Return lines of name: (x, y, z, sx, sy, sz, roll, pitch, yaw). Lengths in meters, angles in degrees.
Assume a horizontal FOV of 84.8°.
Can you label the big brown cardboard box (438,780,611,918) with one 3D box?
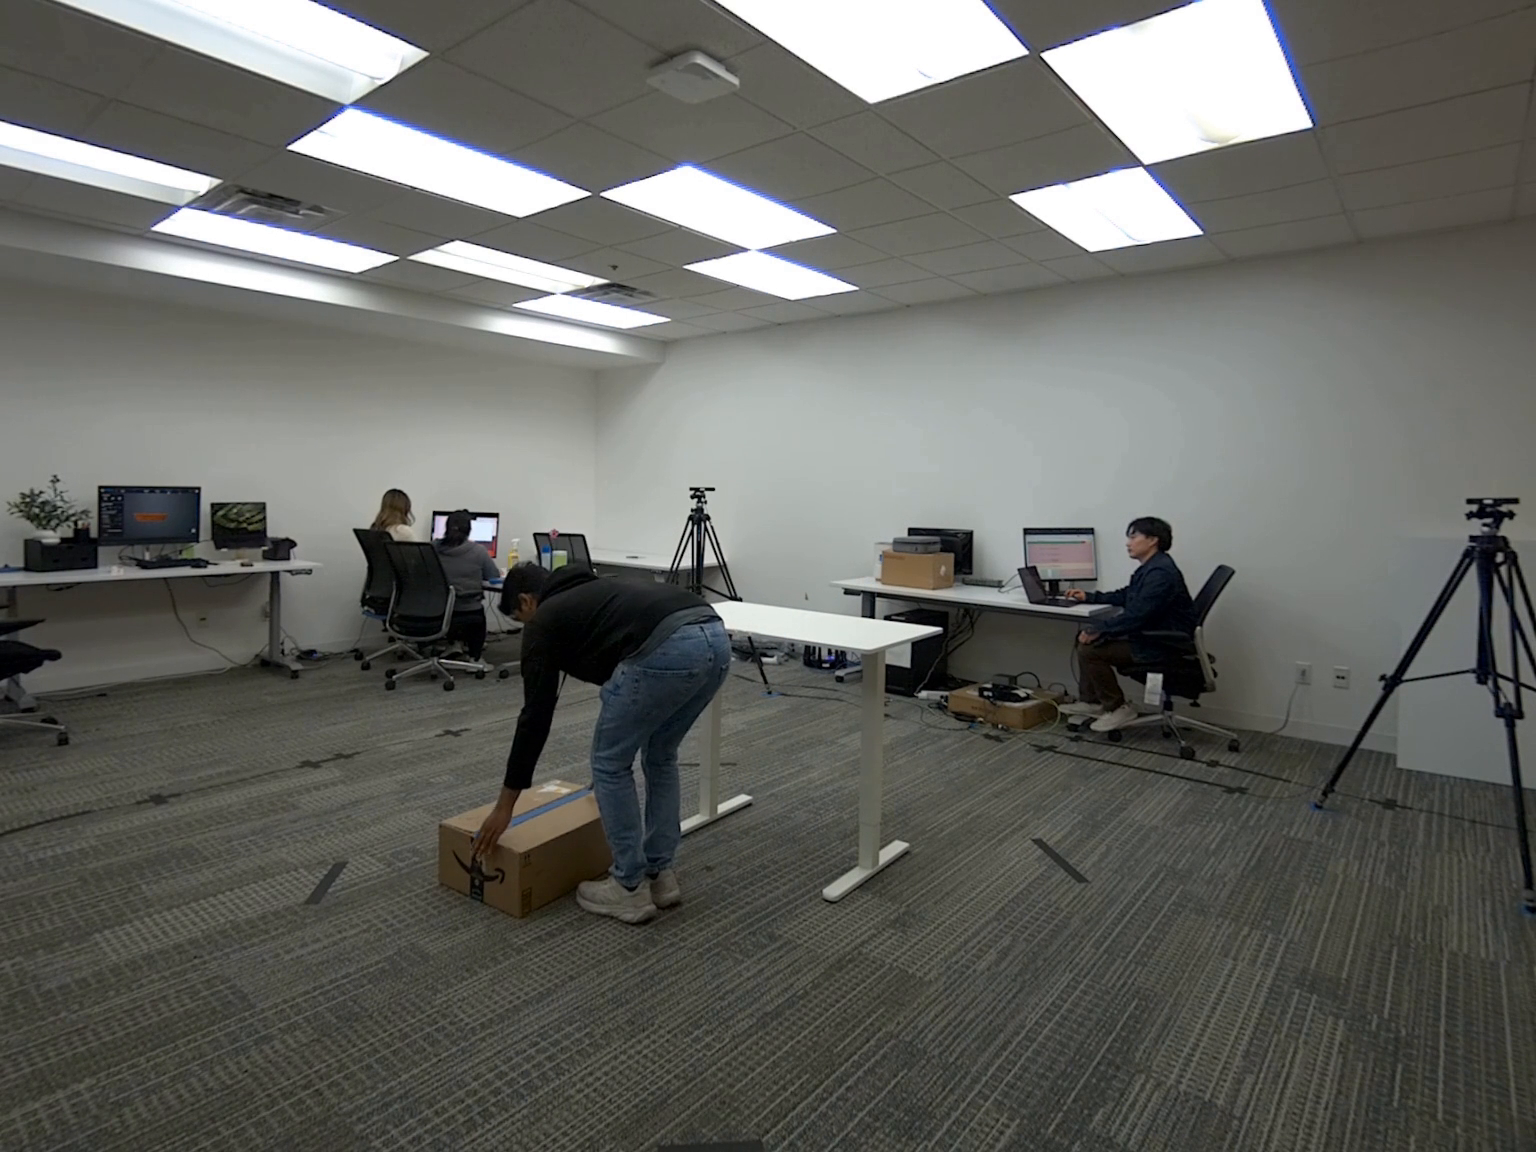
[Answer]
big brown cardboard box: (-0.832, 0.947, 3.065, 0.430, 0.232, 0.574, 4, 7, 32)
